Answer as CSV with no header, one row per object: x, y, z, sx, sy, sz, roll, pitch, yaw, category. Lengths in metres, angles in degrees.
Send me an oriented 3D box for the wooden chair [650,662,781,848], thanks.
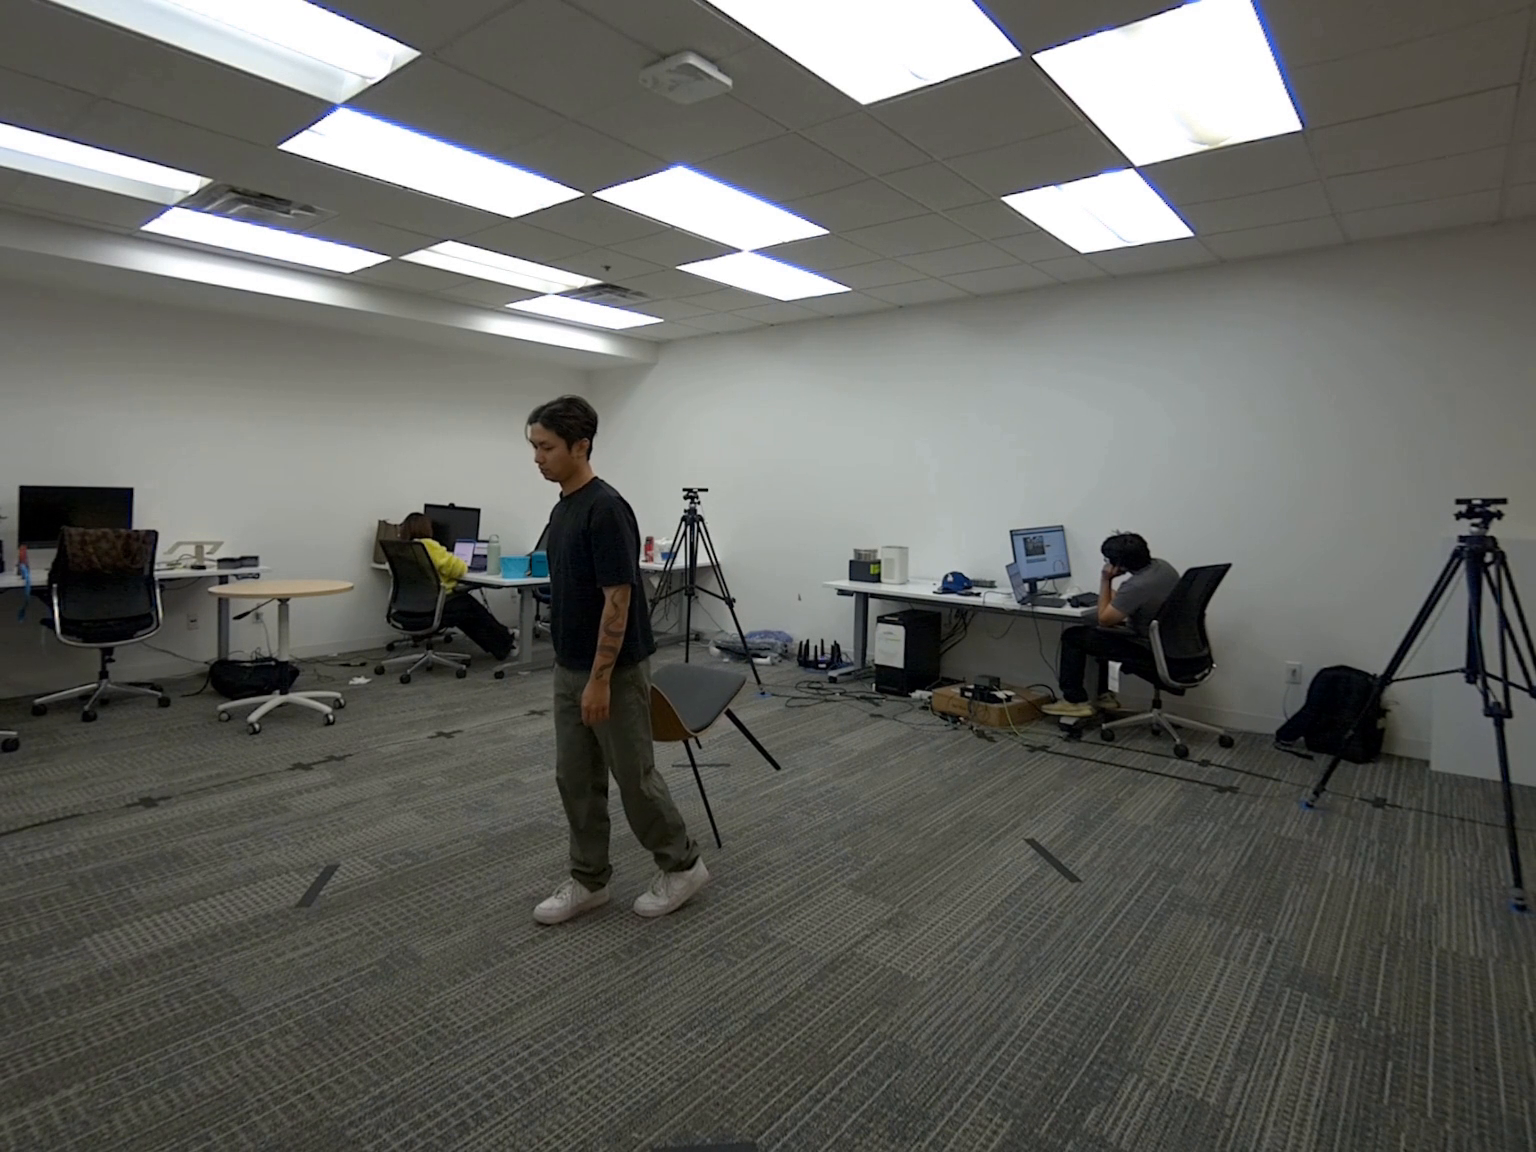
-0.368,0.546,3.408,0.494,0.850,0.522,3,37,38,wooden chair
